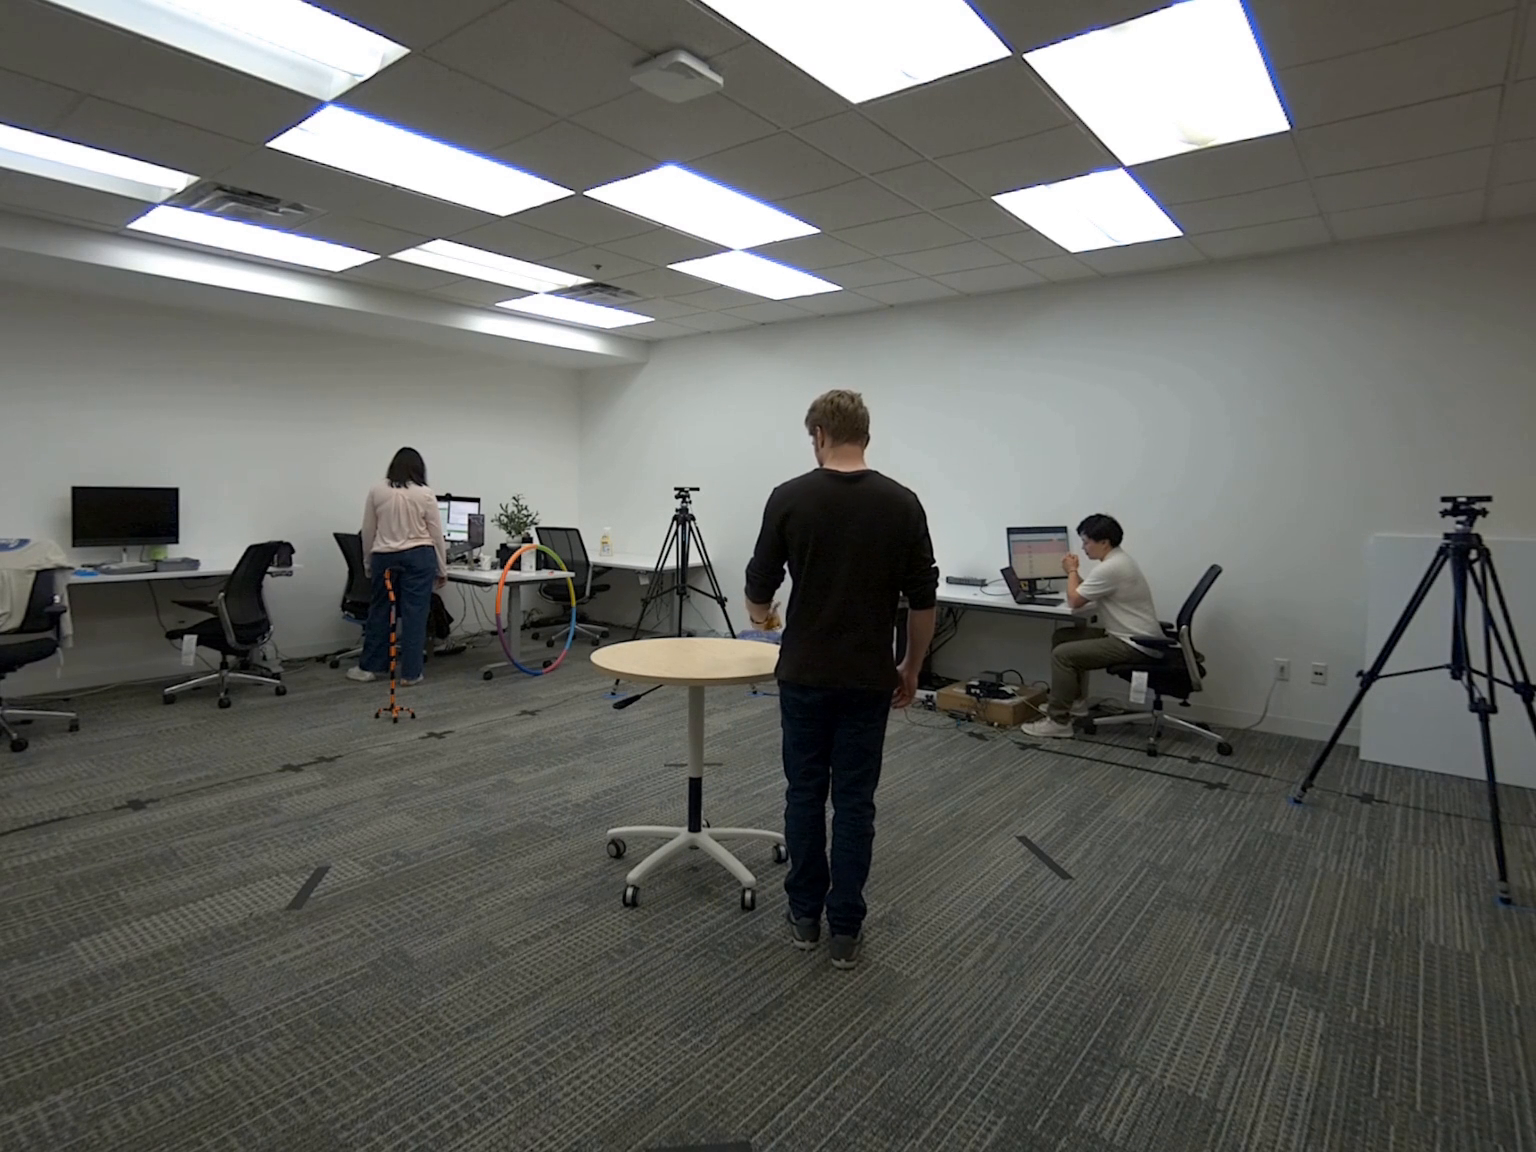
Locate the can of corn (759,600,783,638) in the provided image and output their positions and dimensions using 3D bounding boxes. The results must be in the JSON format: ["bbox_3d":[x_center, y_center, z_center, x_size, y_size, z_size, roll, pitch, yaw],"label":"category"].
[{"bbox_3d":[-0.002,0.149,2.980,0.074,0.111,0.074,-11,1,-2],"label":"can of corn"}]
